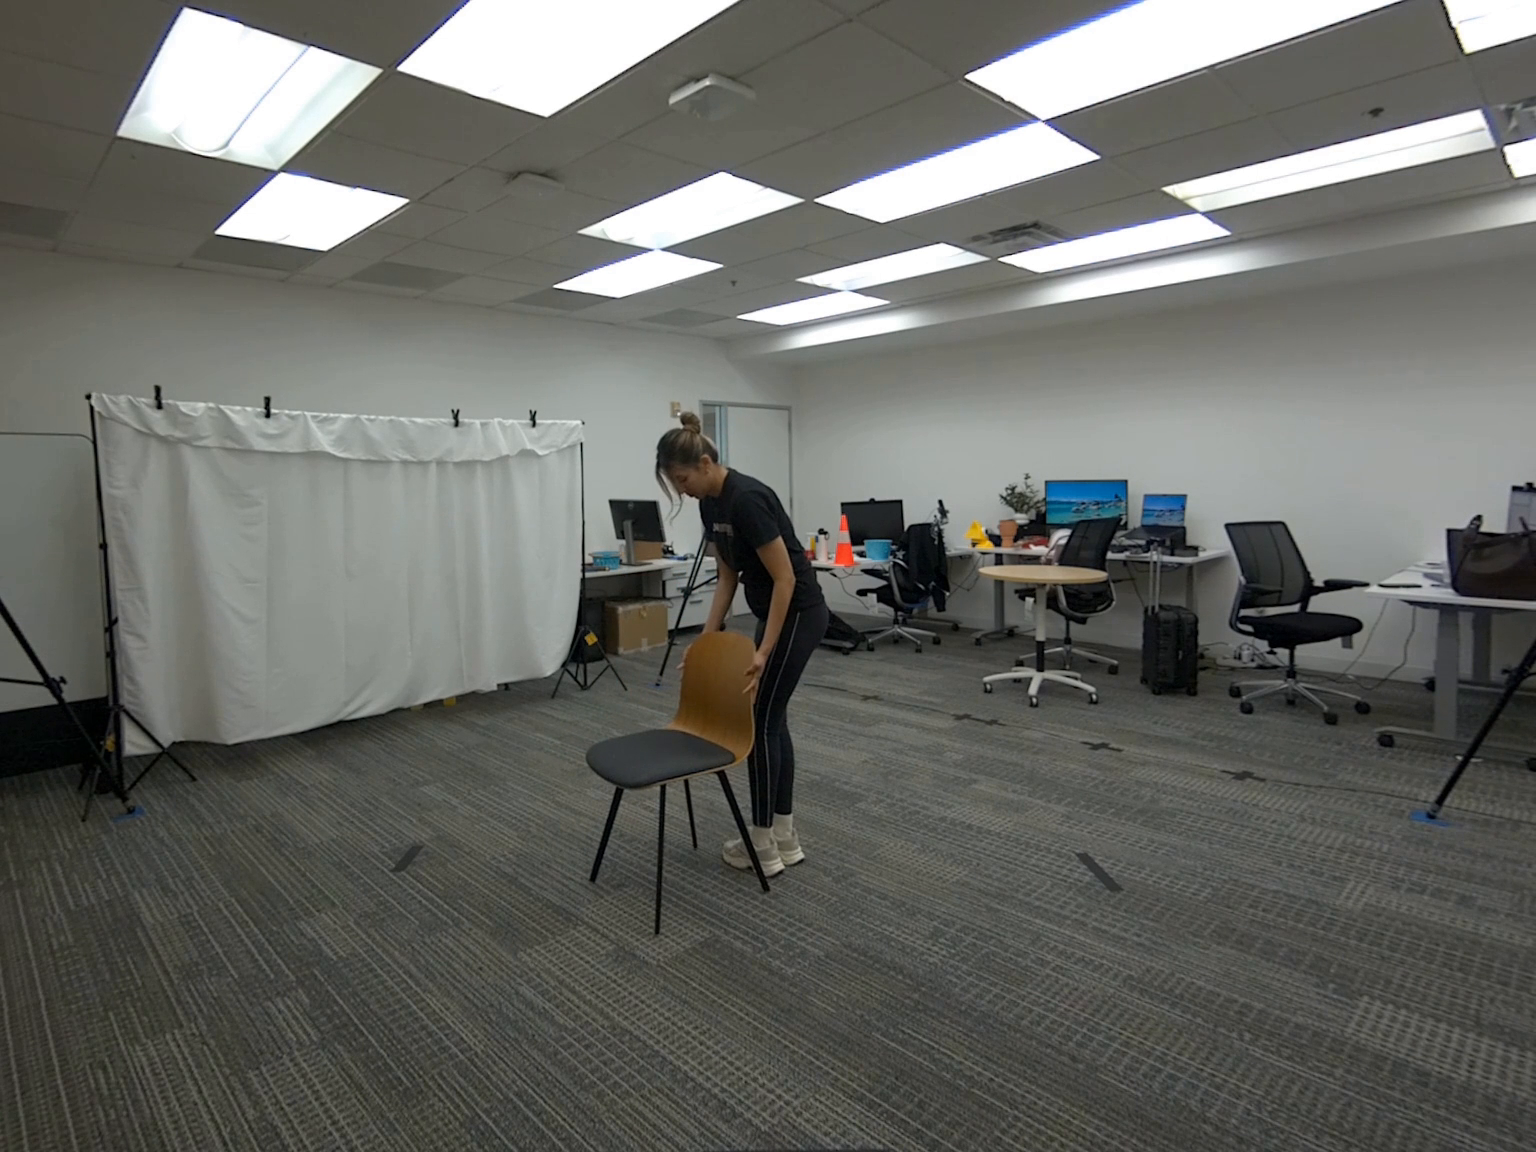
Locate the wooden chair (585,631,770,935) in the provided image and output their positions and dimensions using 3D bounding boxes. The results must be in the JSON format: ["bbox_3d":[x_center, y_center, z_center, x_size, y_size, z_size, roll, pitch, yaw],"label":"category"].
[{"bbox_3d":[-0.323,0.647,2.899,0.508,0.876,0.492,1,2,-37],"label":"wooden chair"}]
